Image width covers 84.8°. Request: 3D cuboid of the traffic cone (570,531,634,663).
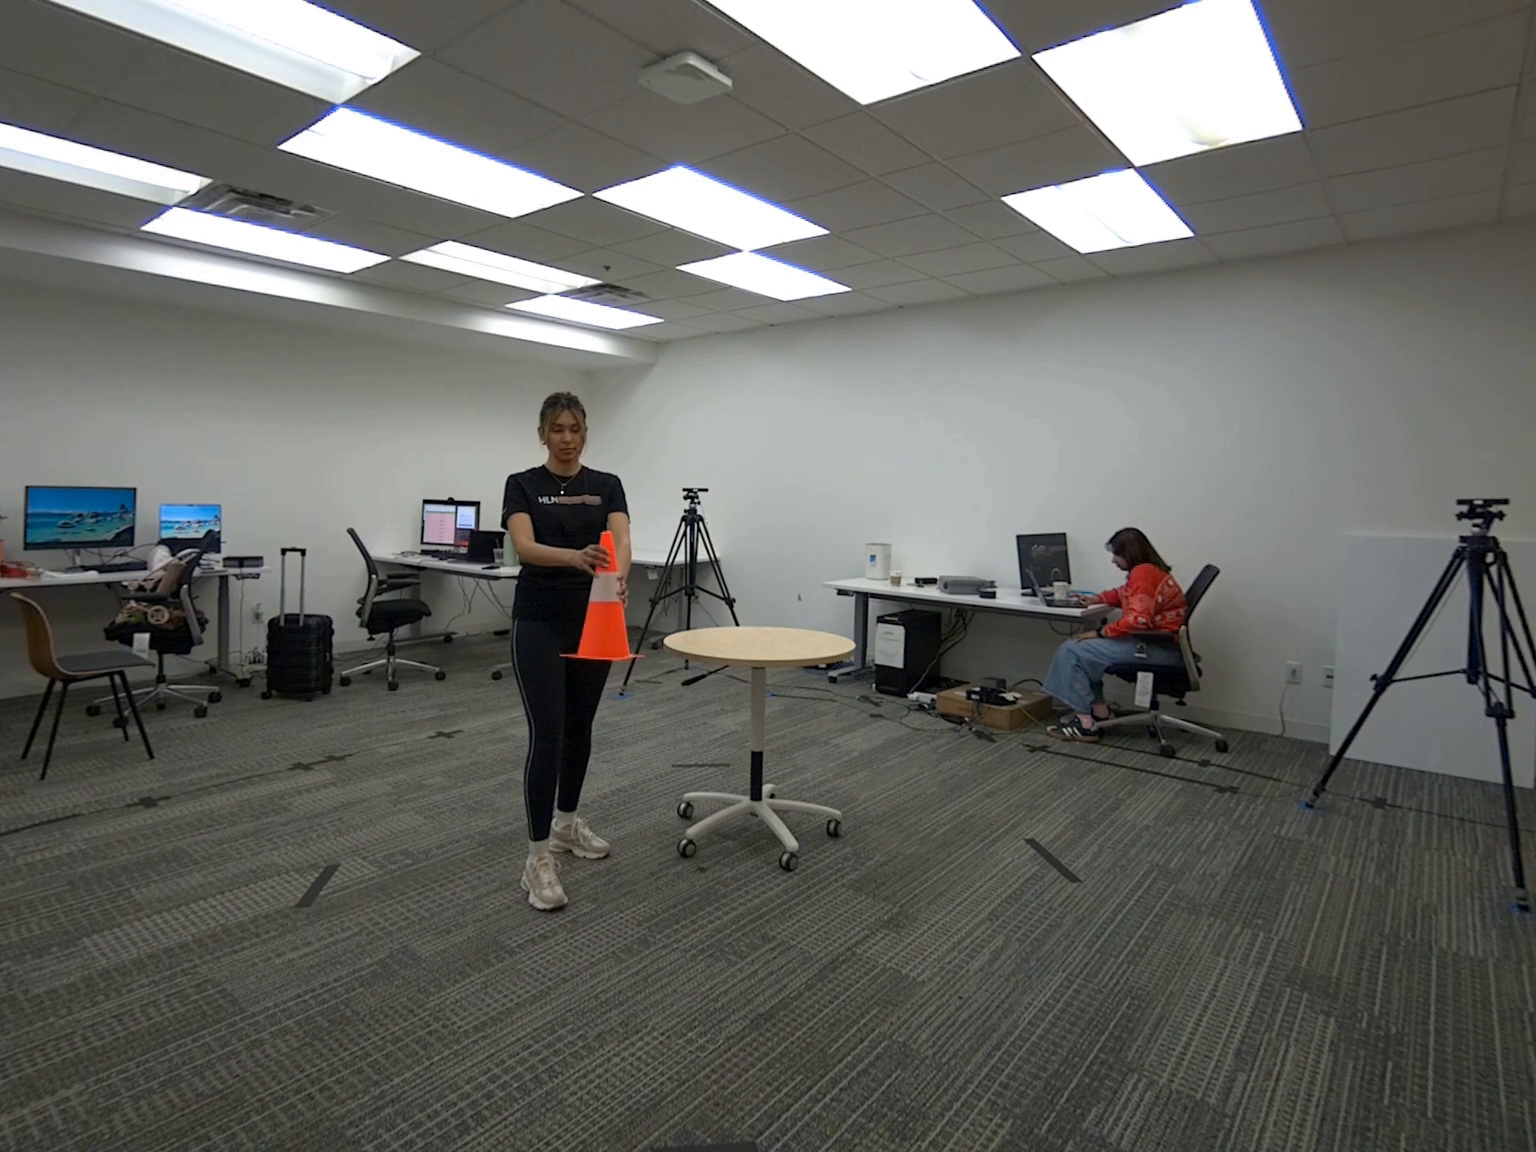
[{"bbox_3d":[-0.503,0.054,2.604,0.210,0.384,0.198,2,-1,23],"label":"traffic cone"}]
